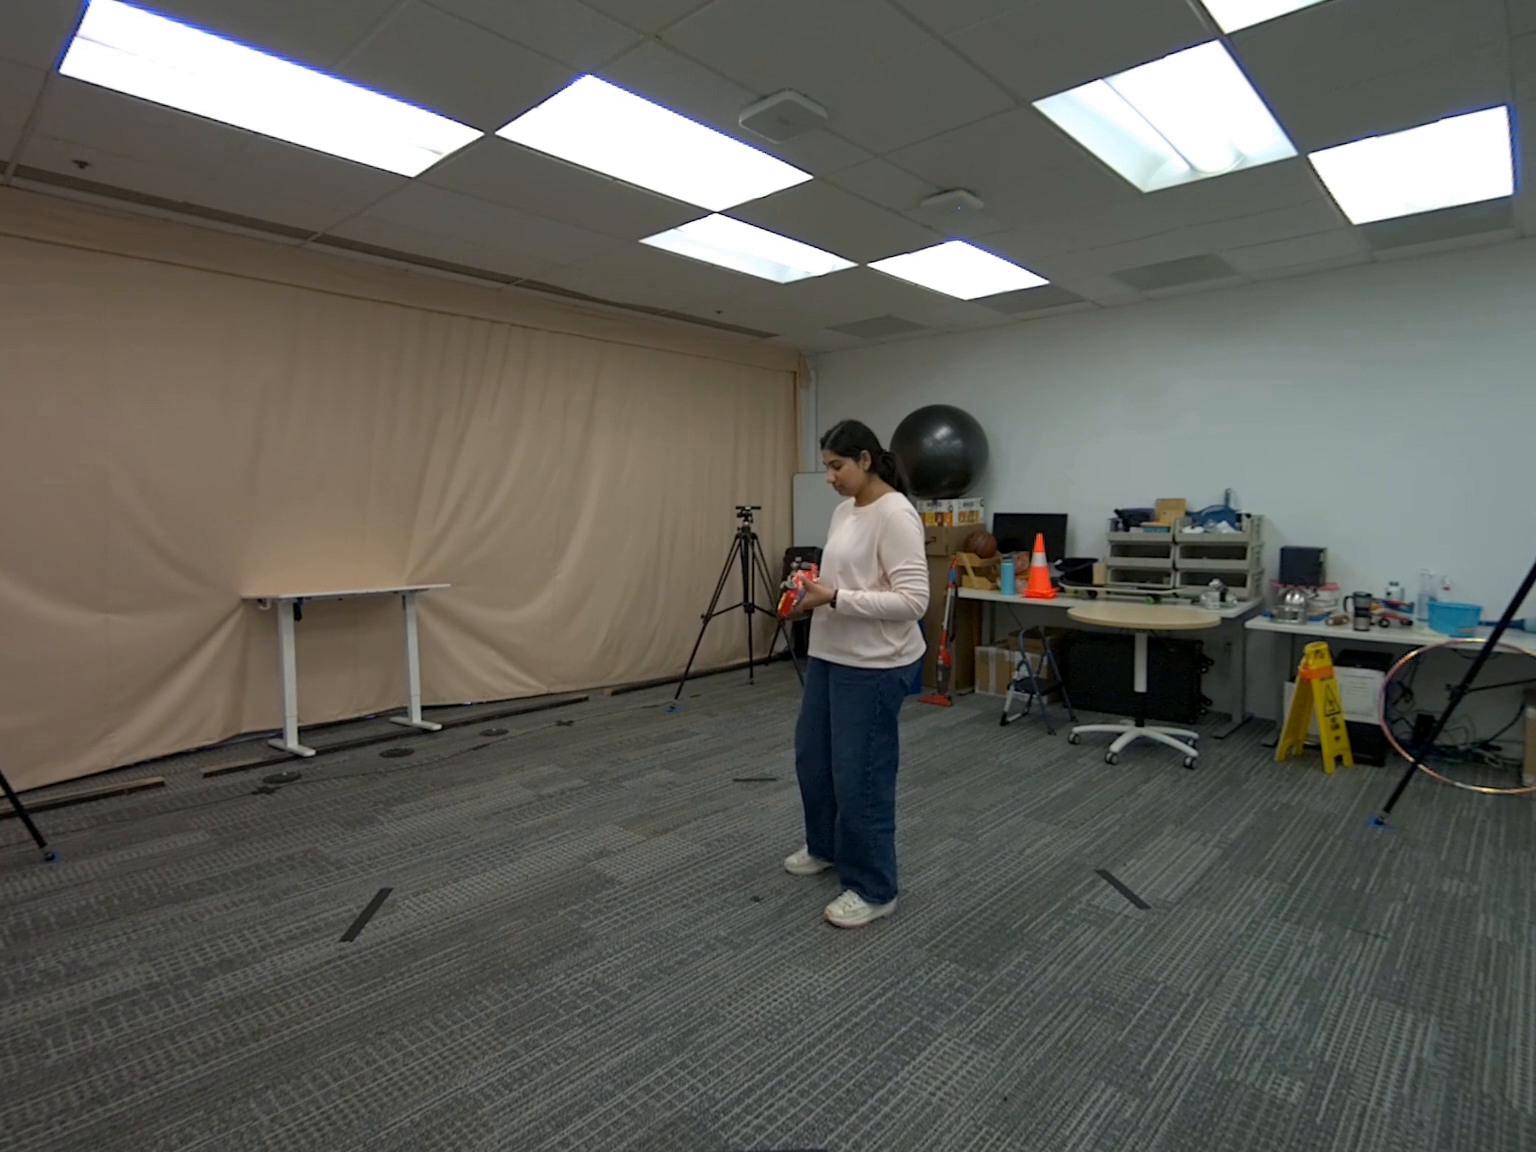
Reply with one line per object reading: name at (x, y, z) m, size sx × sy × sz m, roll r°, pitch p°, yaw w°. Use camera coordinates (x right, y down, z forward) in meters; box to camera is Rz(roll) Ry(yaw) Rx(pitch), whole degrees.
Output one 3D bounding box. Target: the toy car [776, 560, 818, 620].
toy car at (0.091, 0.036, 2.719) m, size 0.085 × 0.129 × 0.250 m, roll 31°, pitch 32°, yaw 16°
